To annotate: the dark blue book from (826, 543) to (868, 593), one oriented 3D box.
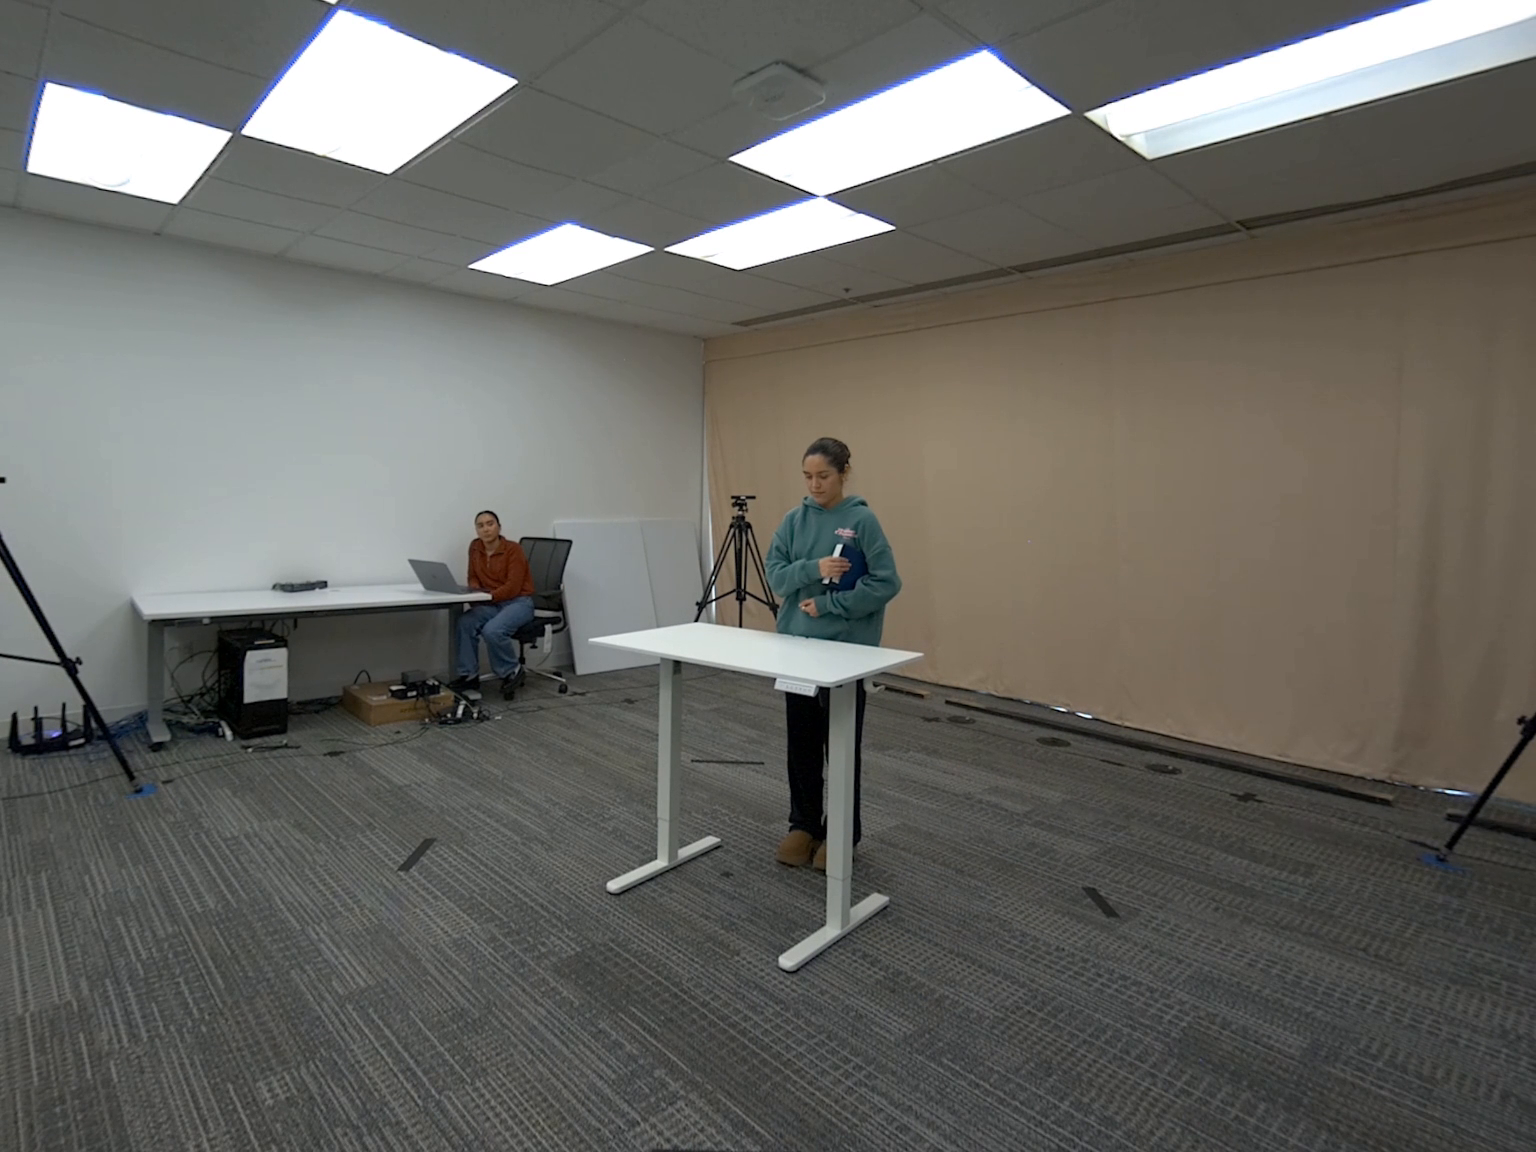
[{"bbox_3d":[0.308,-0.005,3.122,0.239,0.164,0.046,26,-9,-26],"label":"dark blue book"}]
